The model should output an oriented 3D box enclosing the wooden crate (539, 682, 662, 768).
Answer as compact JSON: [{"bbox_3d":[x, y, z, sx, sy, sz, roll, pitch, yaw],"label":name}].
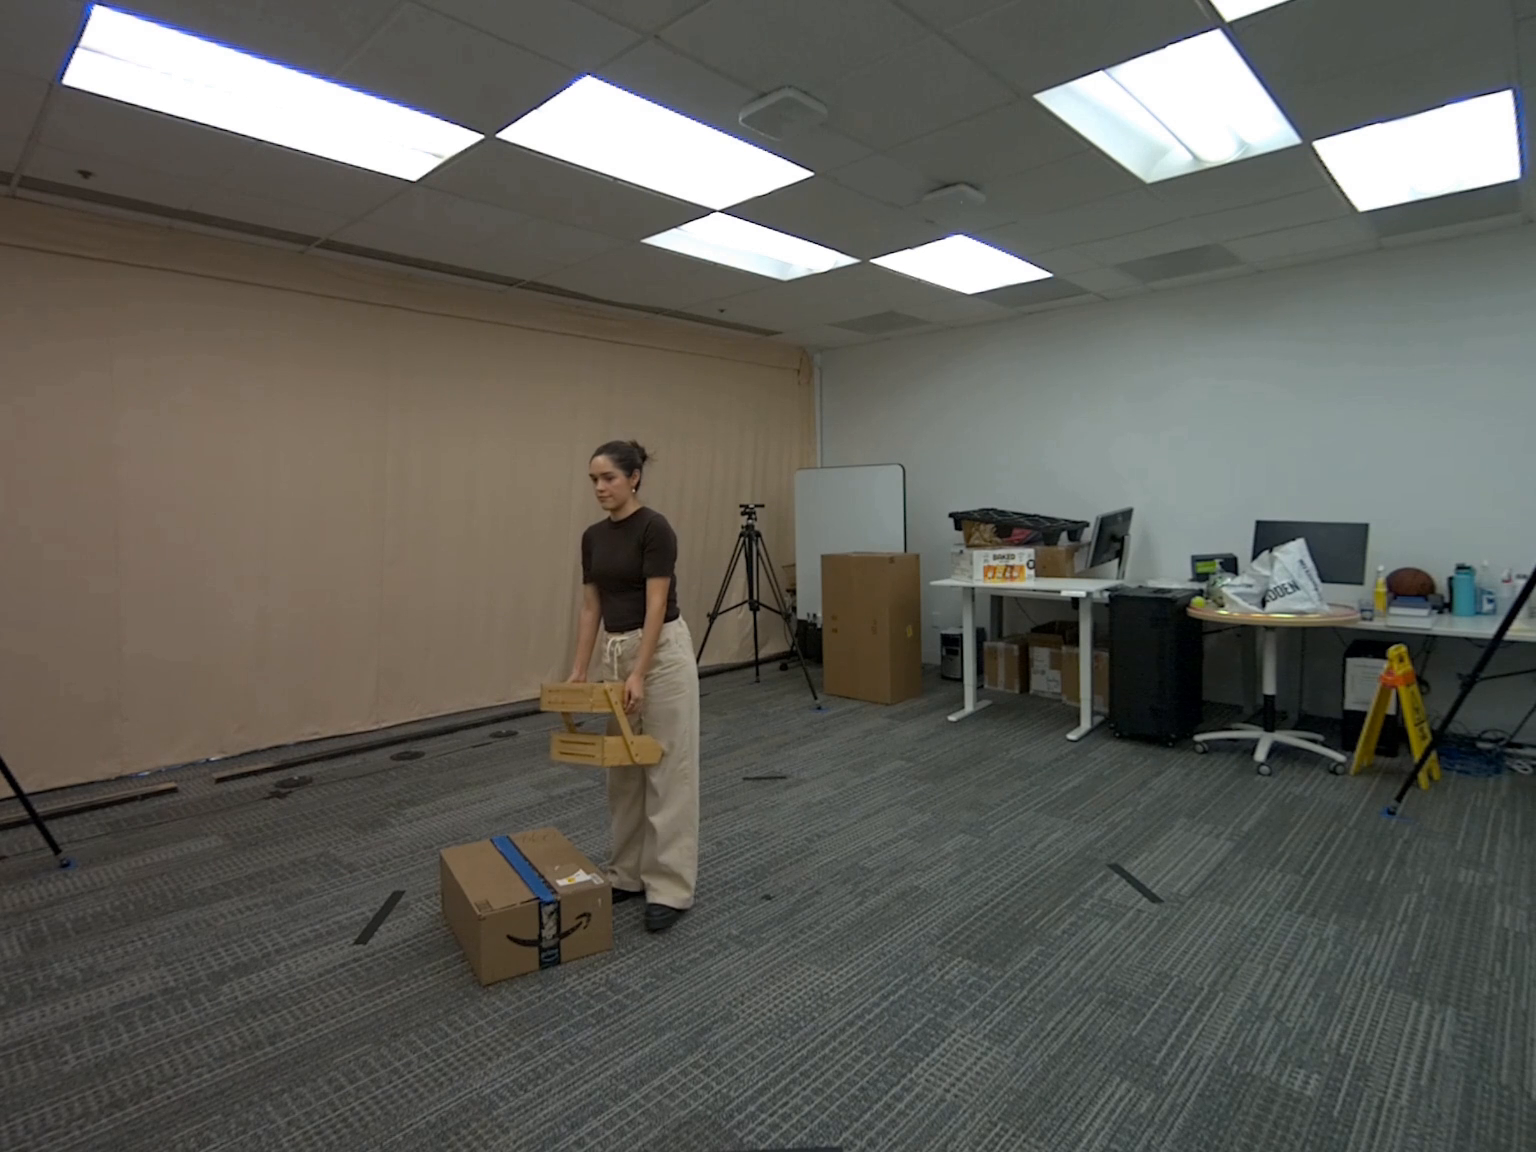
[{"bbox_3d":[-0.566,0.491,2.851,0.334,0.275,0.291,-6,-12,43],"label":"wooden crate"}]
